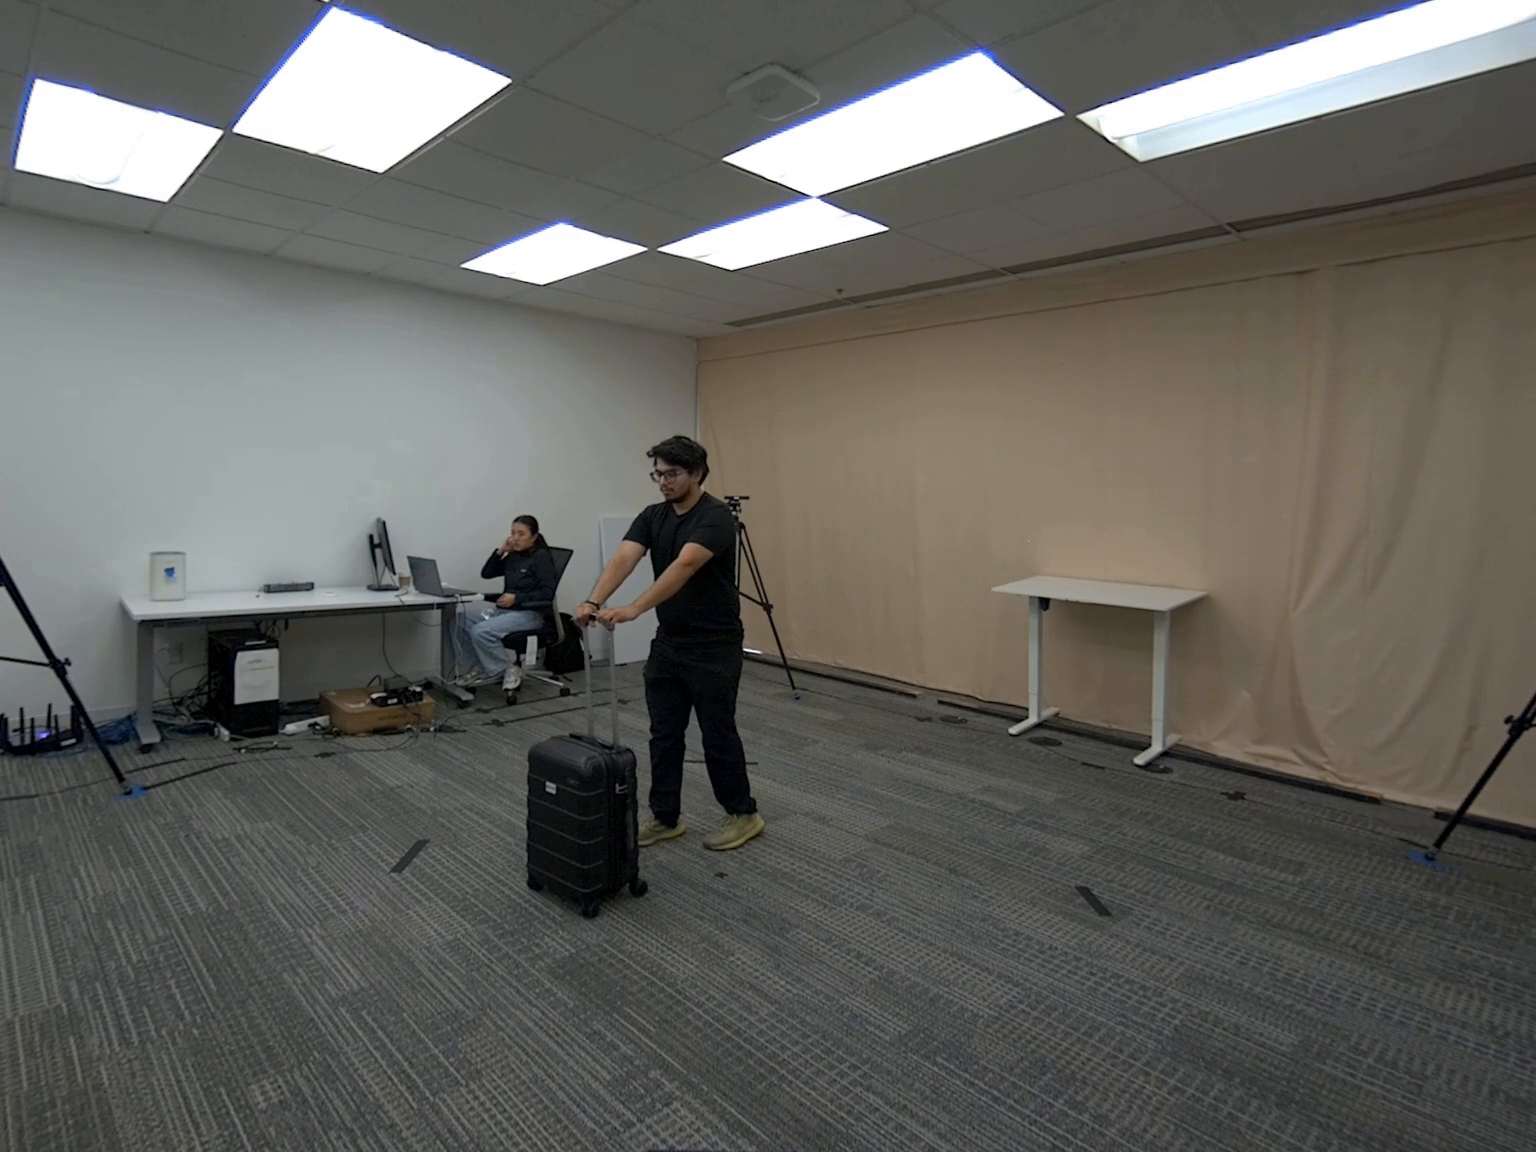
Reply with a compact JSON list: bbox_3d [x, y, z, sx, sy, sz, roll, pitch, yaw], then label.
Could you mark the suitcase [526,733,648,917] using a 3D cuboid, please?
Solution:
[{"bbox_3d":[-0.653,0.641,2.883,0.393,0.974,0.252,5,8,38],"label":"suitcase"}]
